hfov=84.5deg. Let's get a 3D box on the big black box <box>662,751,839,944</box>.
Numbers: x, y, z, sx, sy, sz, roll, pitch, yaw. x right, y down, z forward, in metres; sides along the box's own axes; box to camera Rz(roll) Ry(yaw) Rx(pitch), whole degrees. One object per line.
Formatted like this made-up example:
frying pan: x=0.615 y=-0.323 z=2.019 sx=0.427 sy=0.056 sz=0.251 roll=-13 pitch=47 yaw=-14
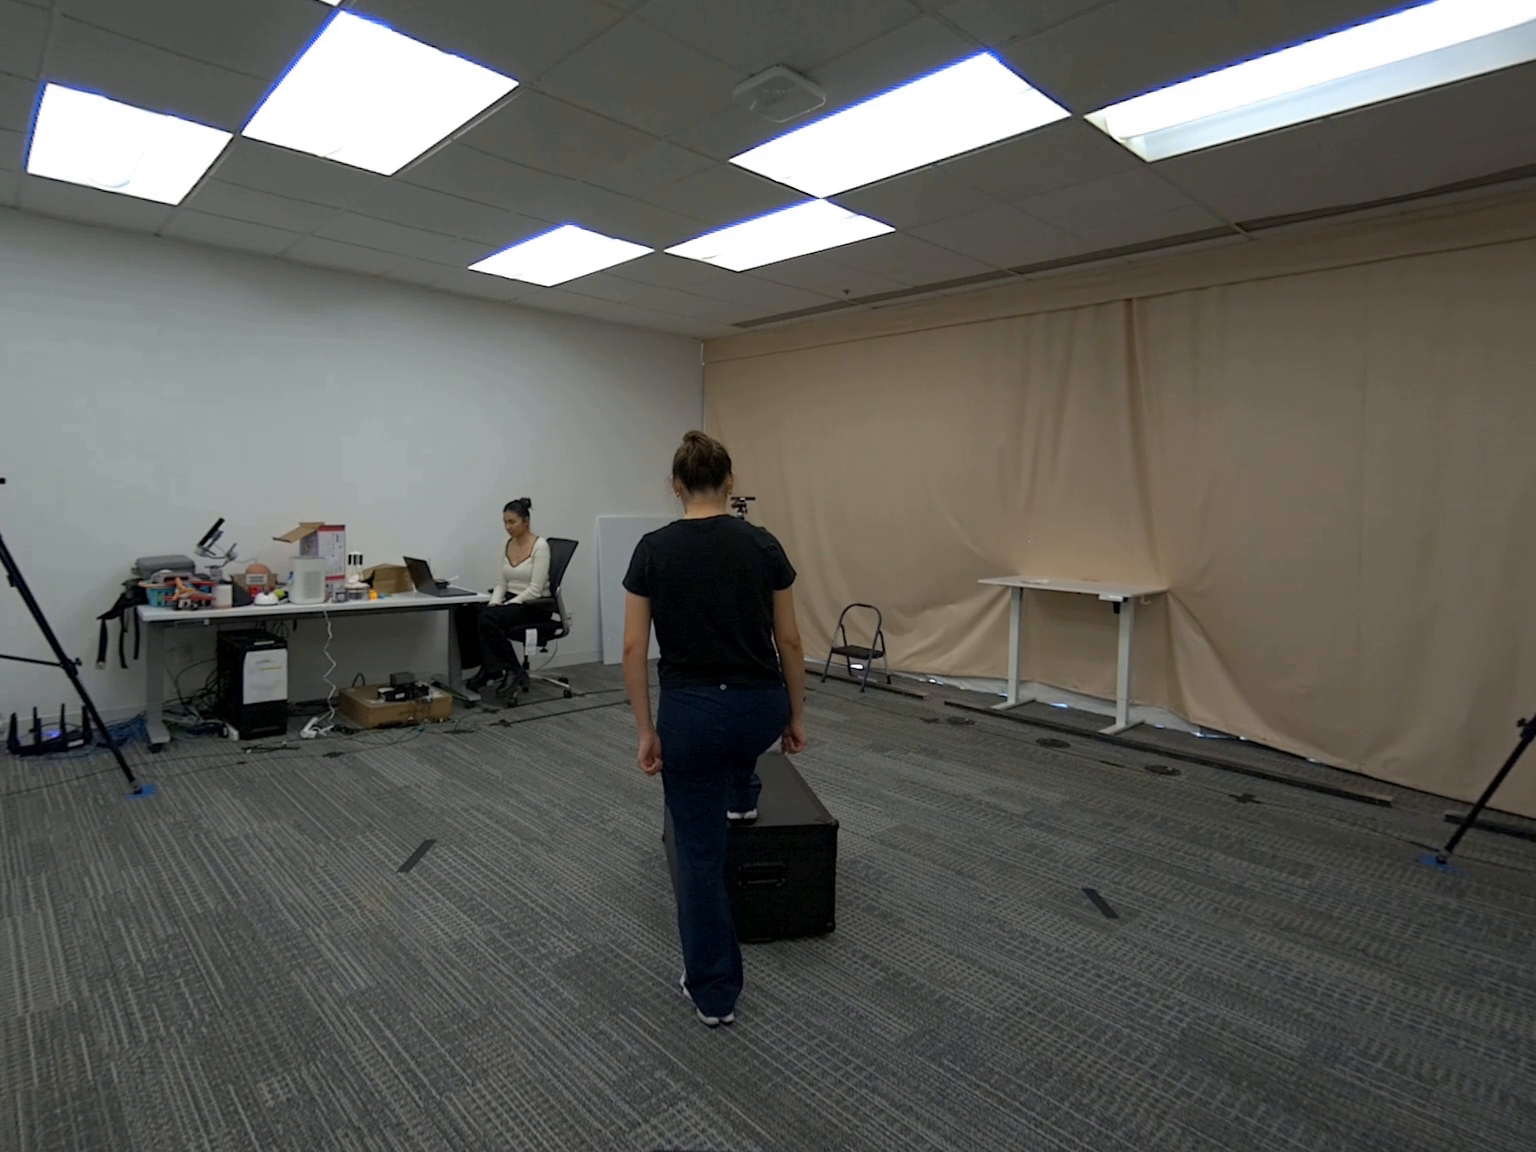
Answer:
big black box: x=-0.105 y=0.923 z=3.019 sx=0.516 sy=0.395 sz=0.872 roll=1 pitch=5 yaw=-12
